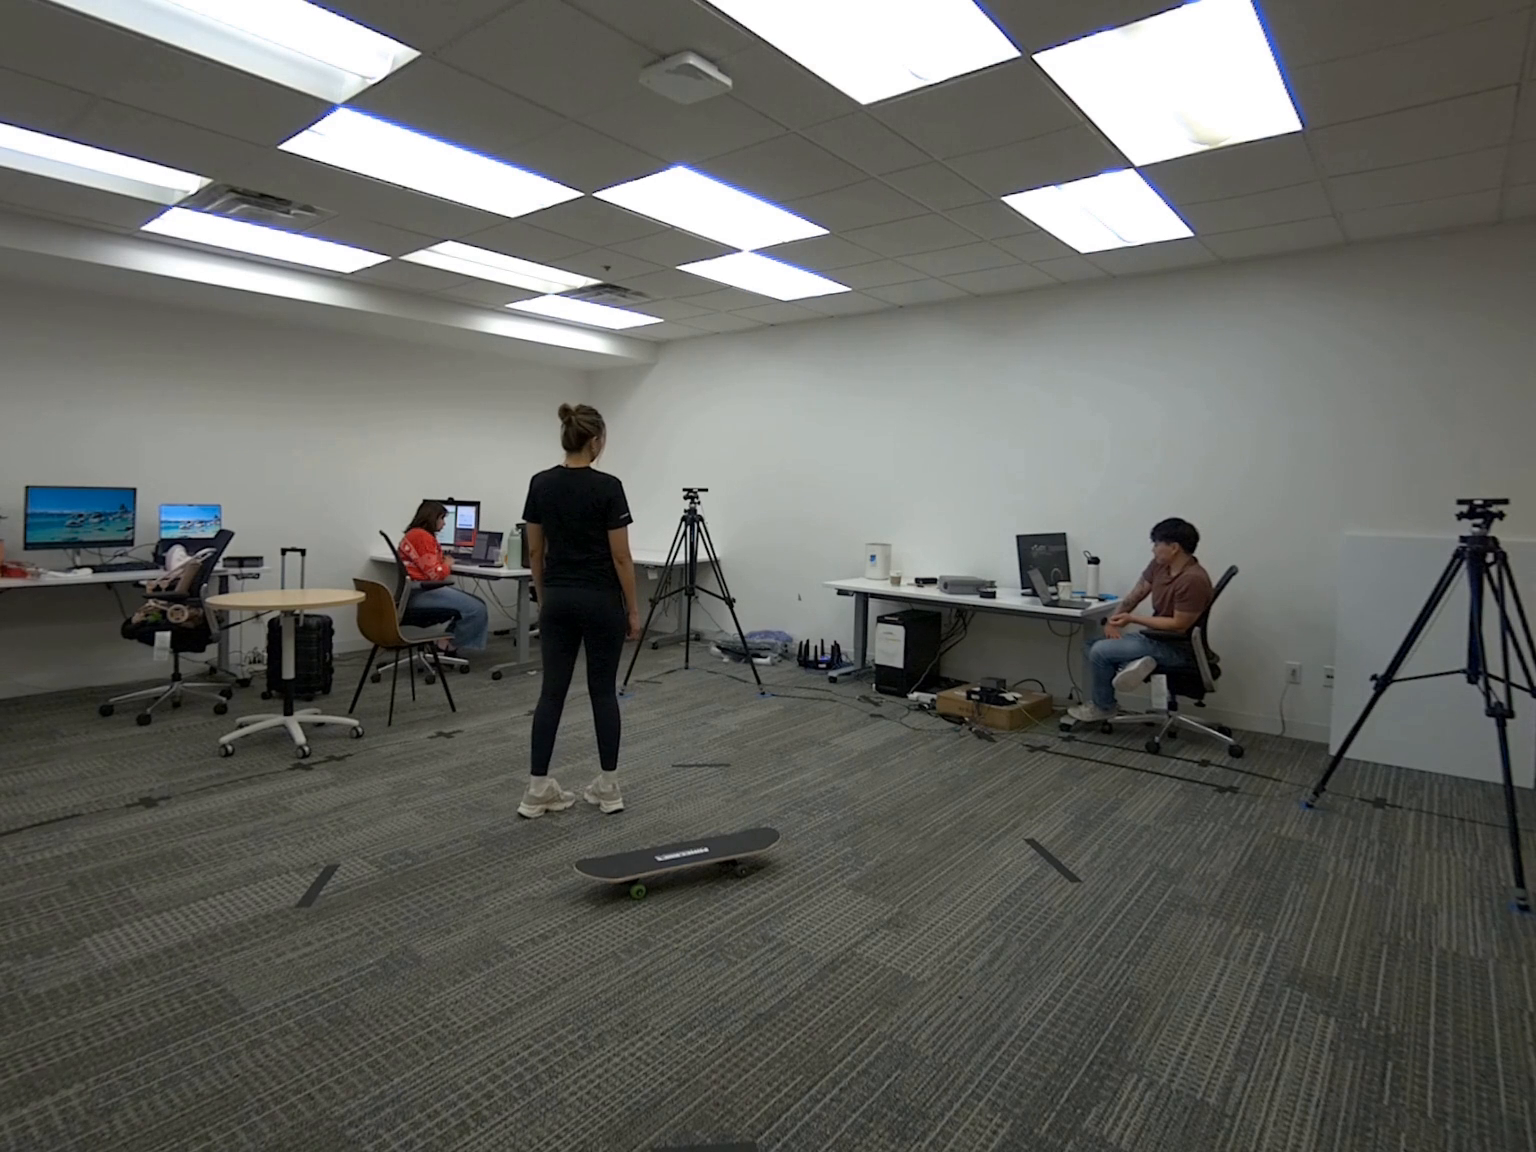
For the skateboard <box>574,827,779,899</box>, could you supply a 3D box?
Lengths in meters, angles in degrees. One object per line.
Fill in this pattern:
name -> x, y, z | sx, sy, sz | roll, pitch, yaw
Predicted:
skateboard -> -0.315, 1.018, 3.031 | 0.766, 0.110, 0.199 | -2, 5, -27
